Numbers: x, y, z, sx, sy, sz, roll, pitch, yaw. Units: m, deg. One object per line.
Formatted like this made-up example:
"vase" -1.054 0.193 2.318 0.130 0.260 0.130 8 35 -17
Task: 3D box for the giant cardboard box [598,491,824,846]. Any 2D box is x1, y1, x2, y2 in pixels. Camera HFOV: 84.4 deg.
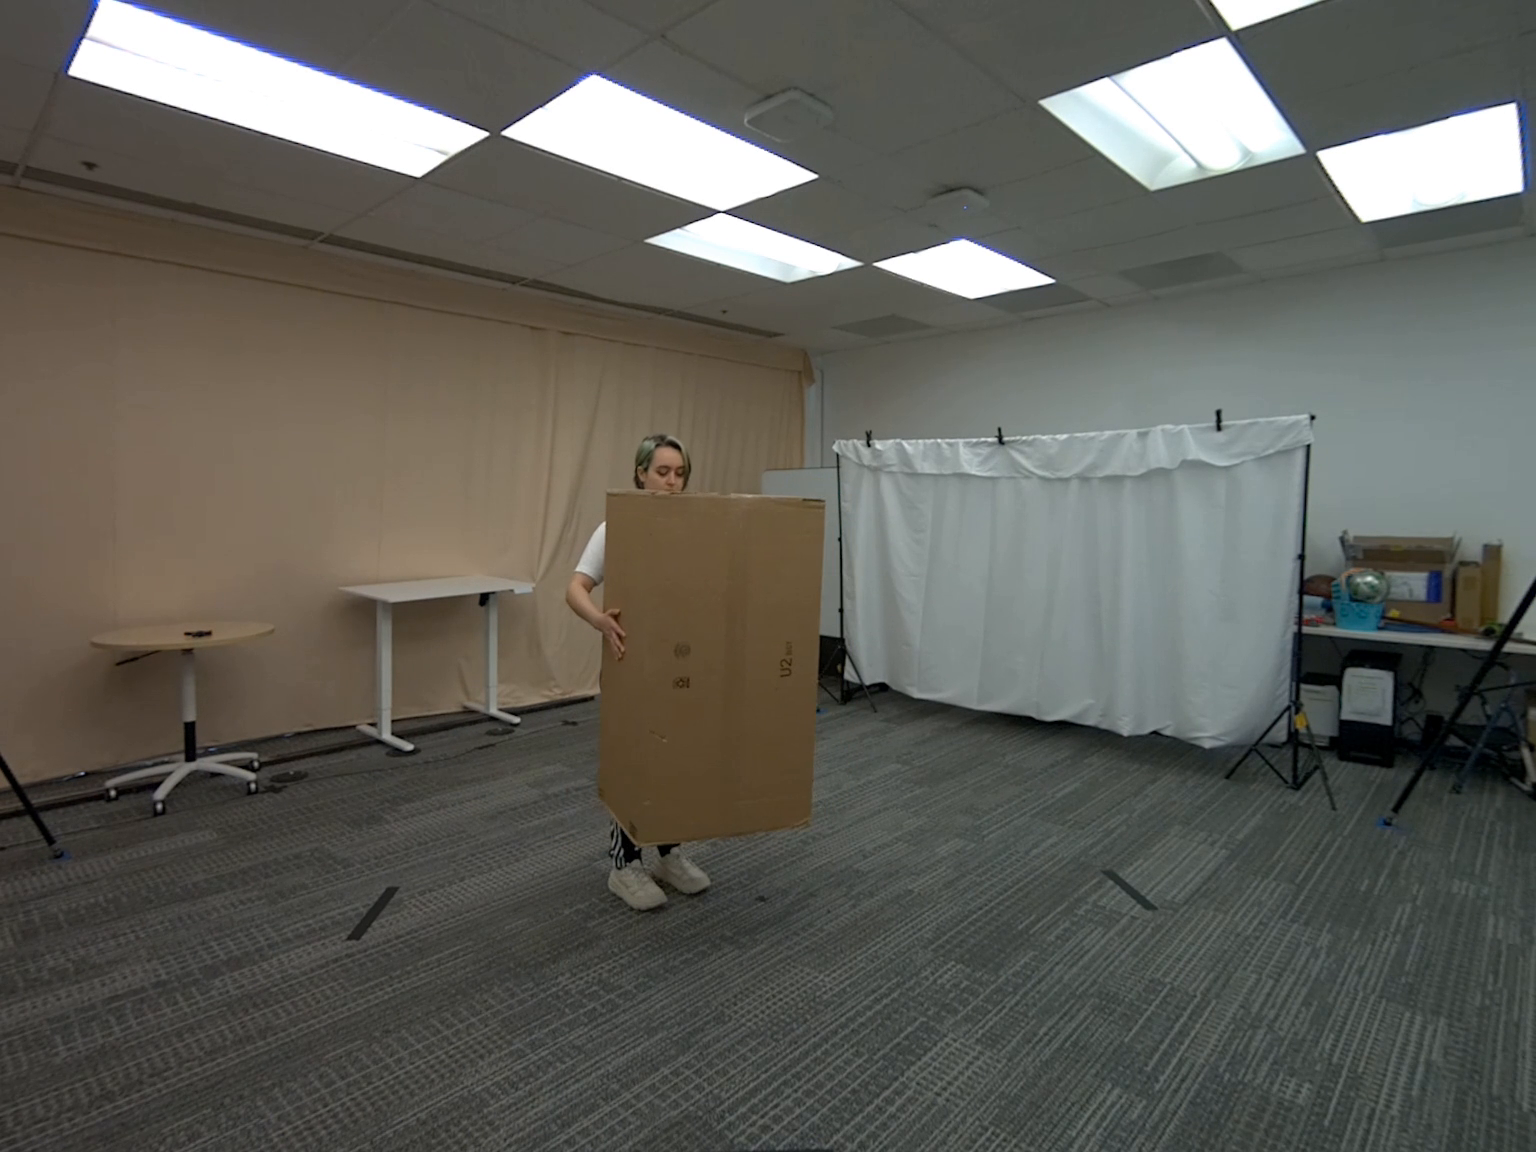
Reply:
"giant cardboard box" -0.184 0.254 2.675 0.563 1.023 0.438 0 4 -26
